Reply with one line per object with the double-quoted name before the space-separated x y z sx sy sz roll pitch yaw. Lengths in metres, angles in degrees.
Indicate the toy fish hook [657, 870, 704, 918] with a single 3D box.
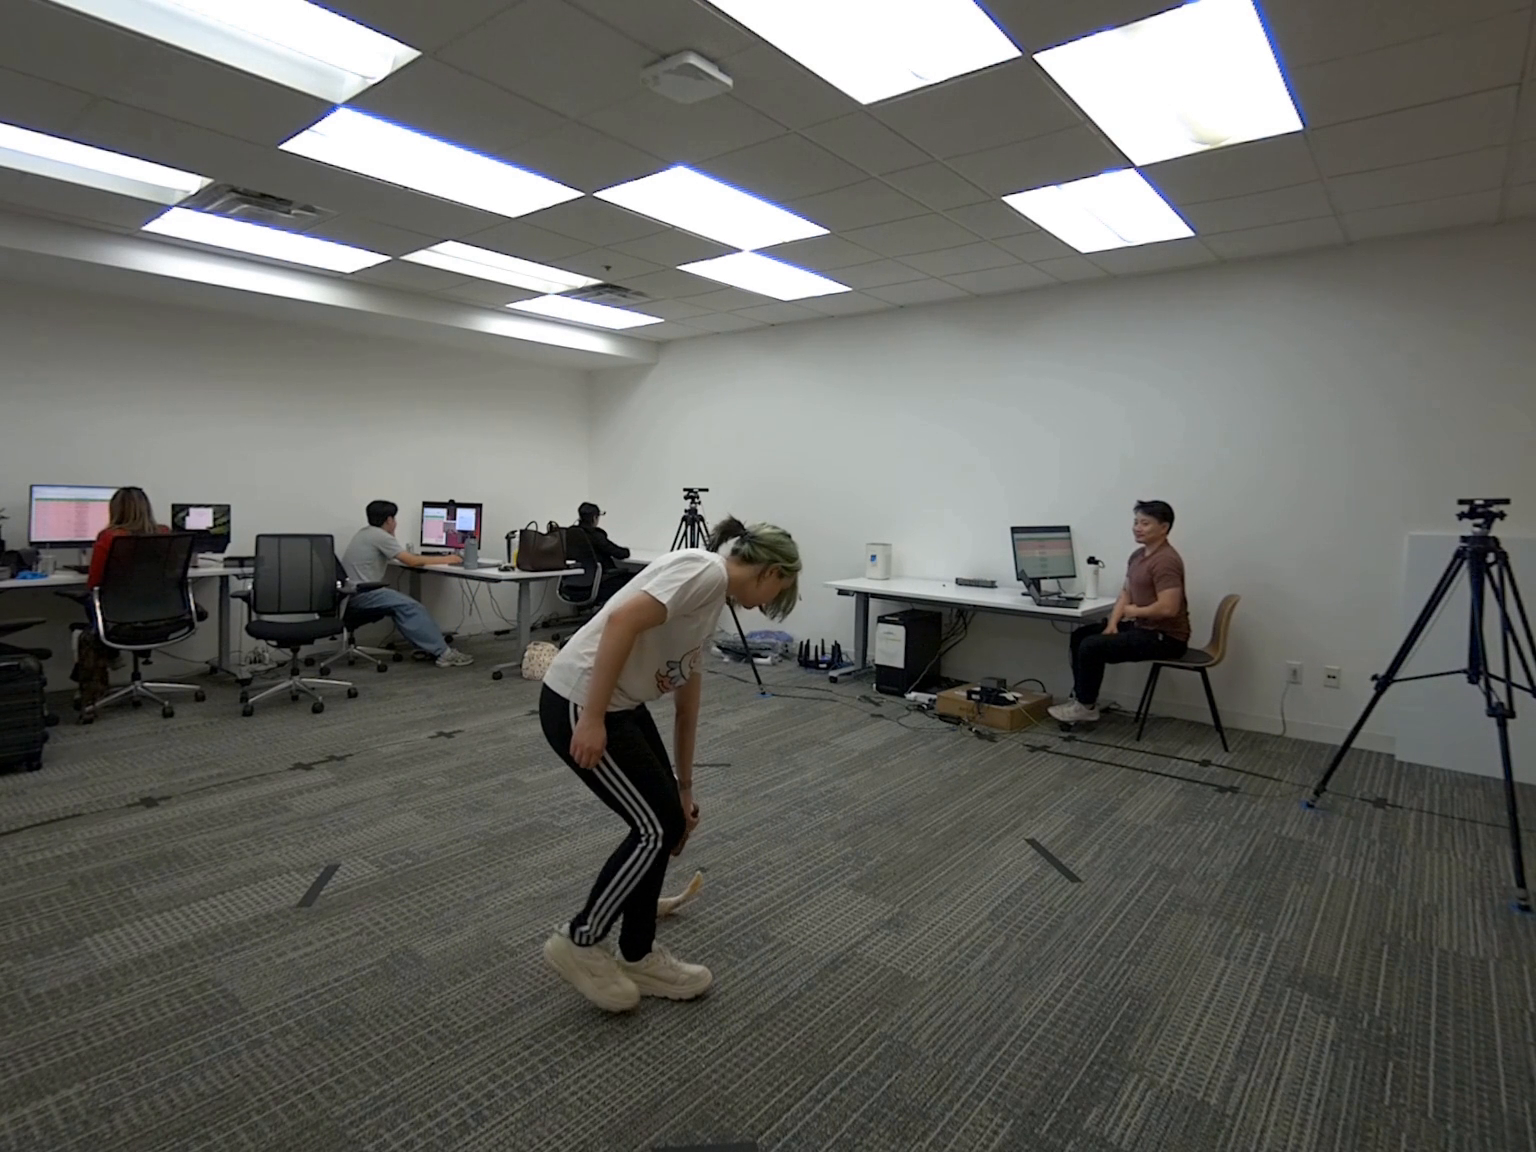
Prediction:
"toy fish hook" -0.281 0.885 2.650 0.218 0.501 0.050 7 34 -30
